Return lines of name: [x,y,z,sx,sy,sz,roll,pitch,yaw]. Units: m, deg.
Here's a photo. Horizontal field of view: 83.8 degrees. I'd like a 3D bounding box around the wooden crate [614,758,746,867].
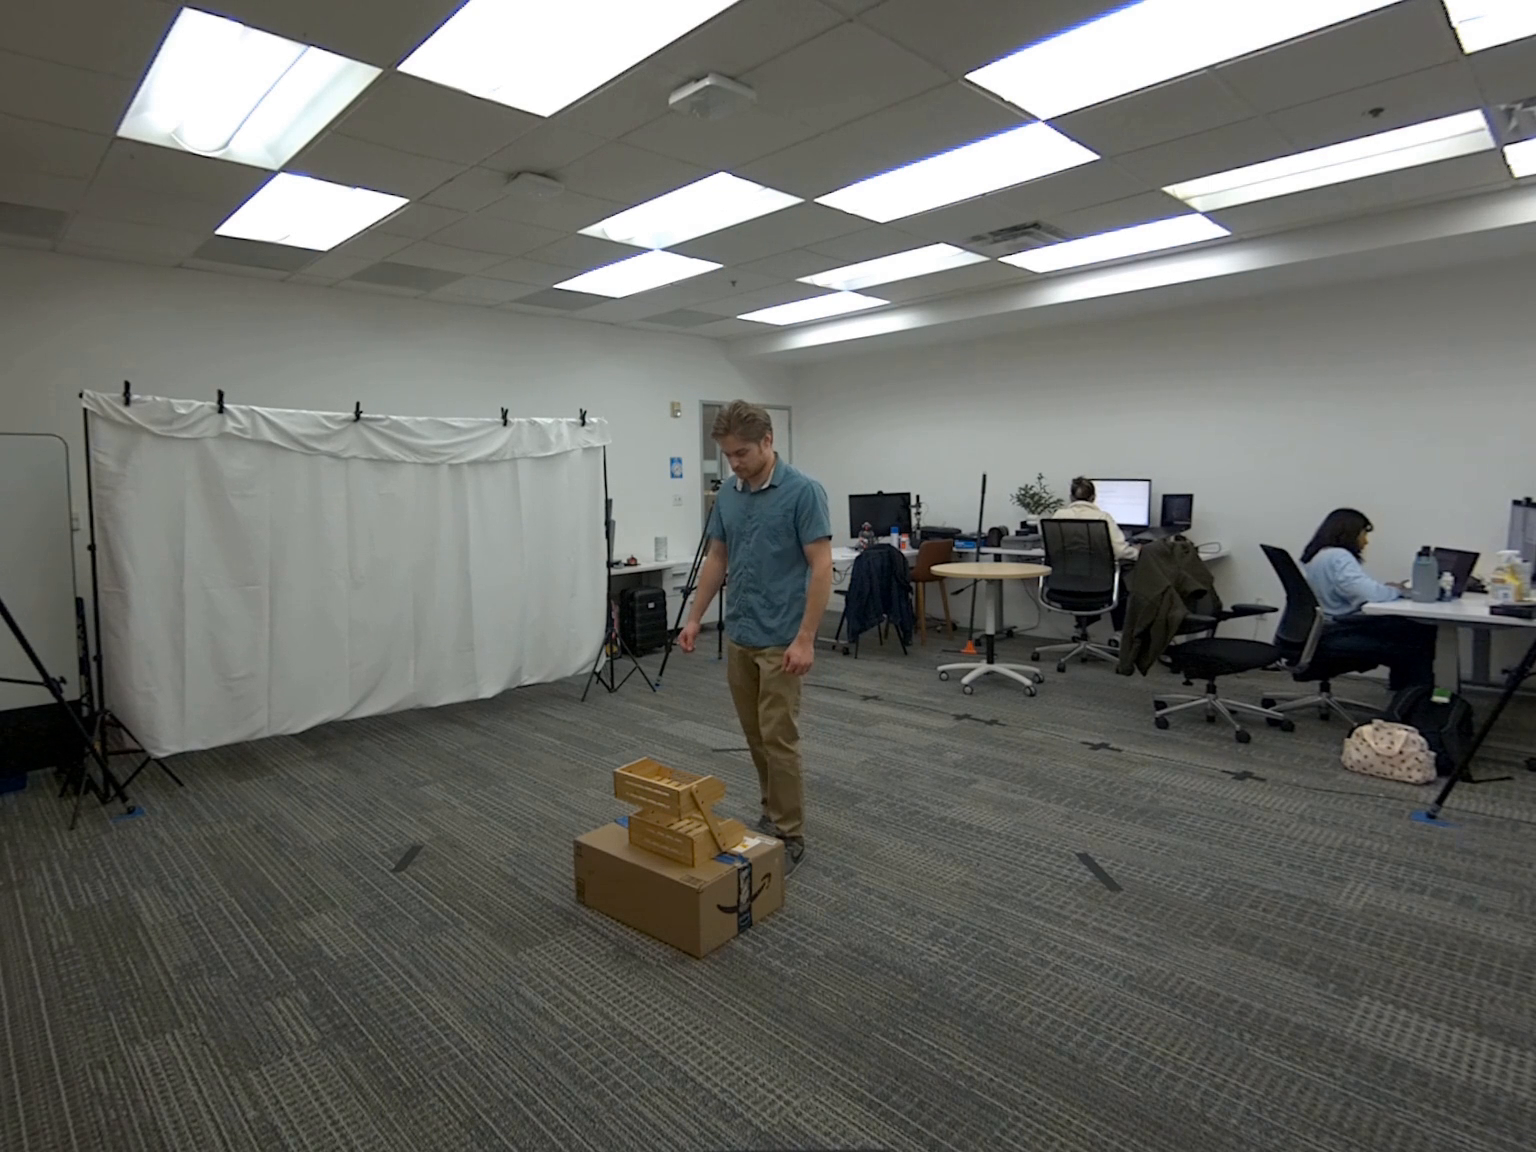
wooden crate: [-0.282,0.743,2.785,0.334,0.272,0.295,3,8,40]
